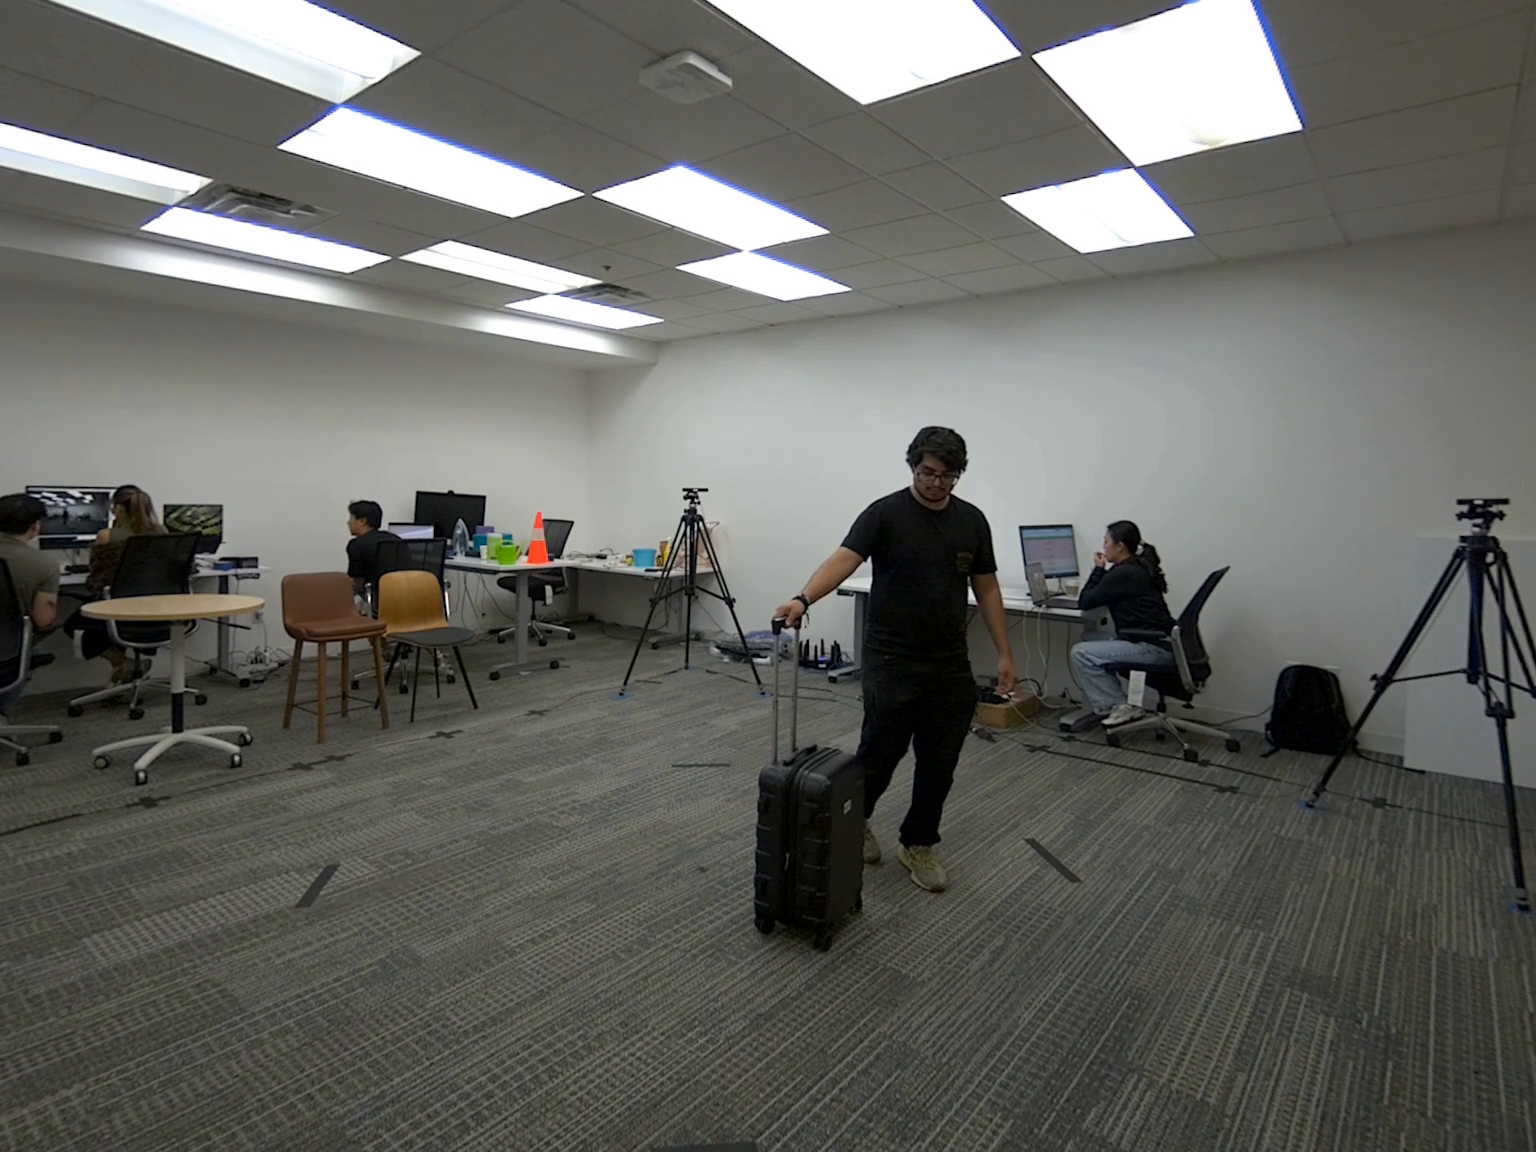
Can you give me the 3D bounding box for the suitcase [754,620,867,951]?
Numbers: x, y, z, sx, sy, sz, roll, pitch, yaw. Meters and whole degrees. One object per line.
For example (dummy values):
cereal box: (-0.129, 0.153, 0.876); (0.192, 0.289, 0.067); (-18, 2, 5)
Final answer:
suitcase: (0.142, 0.636, 2.715); (0.264, 0.975, 0.375); (4, 4, 26)
